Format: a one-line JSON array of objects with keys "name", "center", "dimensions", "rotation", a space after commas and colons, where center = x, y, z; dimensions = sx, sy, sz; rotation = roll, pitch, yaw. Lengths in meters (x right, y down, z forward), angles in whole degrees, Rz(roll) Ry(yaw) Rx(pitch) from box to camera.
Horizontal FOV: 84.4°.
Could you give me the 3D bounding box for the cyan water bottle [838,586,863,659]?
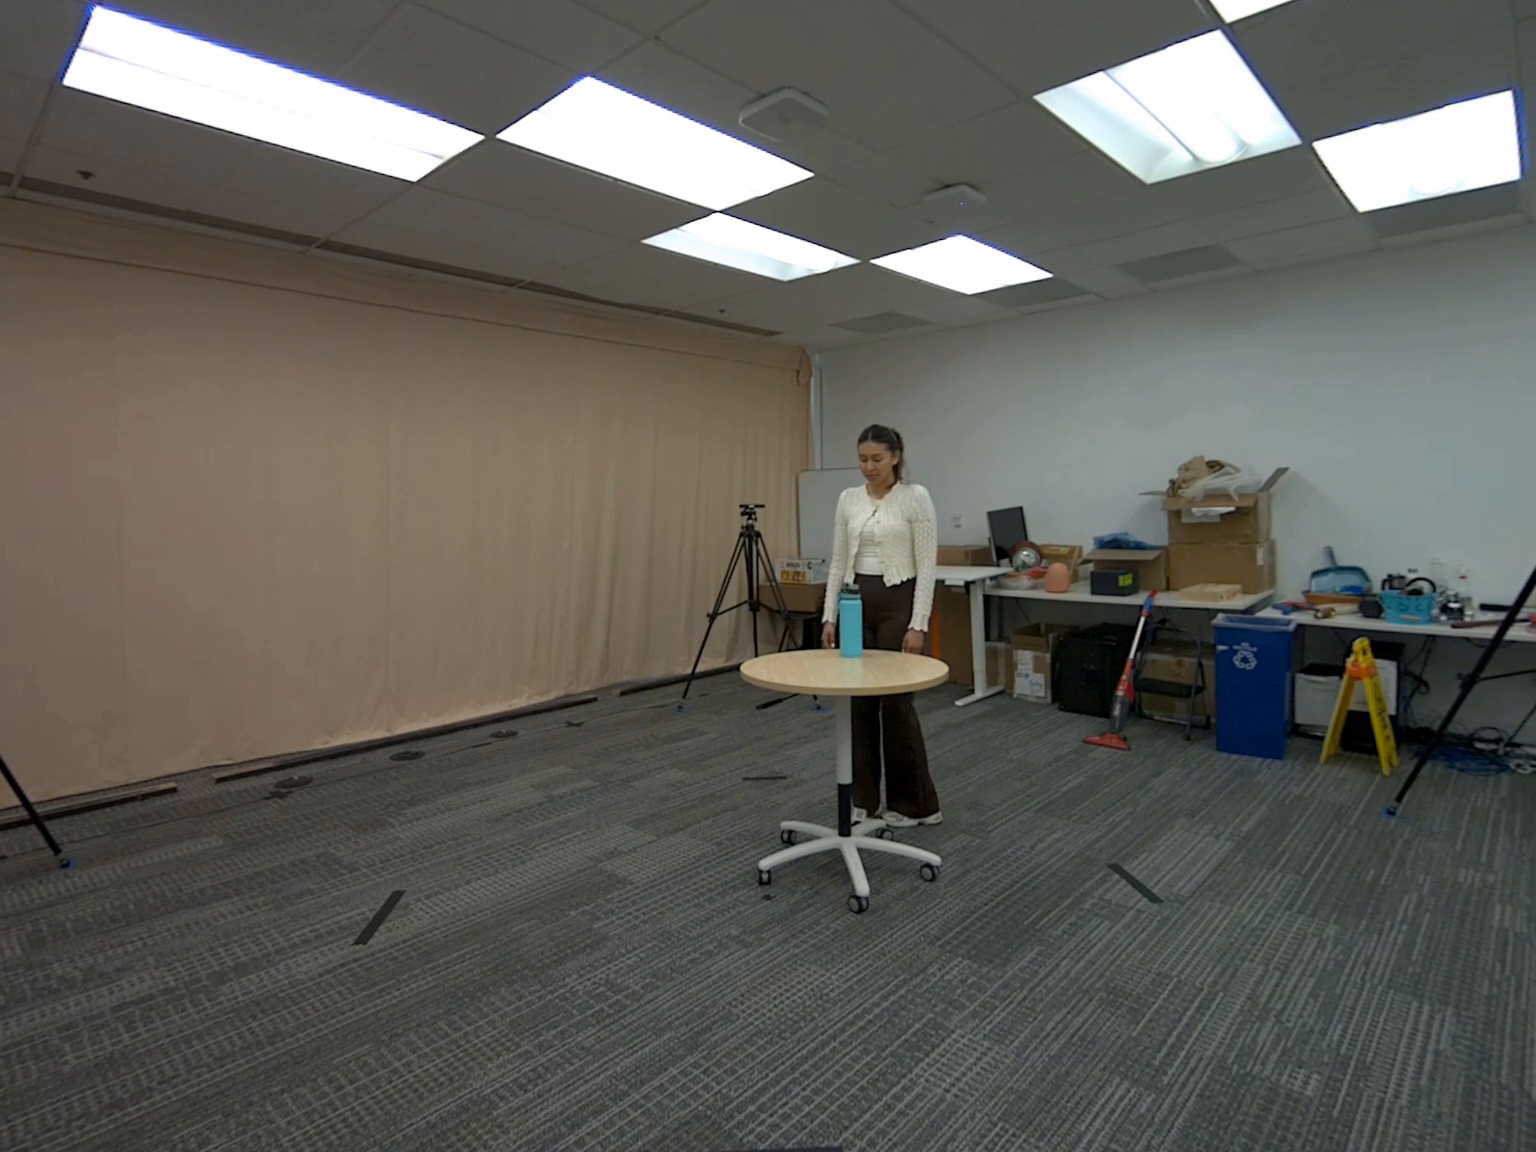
[{"name": "cyan water bottle", "center": [0.336, 0.182, 3.365], "dimensions": [0.092, 0.283, 0.092], "rotation": [-2, 1, -2]}]
